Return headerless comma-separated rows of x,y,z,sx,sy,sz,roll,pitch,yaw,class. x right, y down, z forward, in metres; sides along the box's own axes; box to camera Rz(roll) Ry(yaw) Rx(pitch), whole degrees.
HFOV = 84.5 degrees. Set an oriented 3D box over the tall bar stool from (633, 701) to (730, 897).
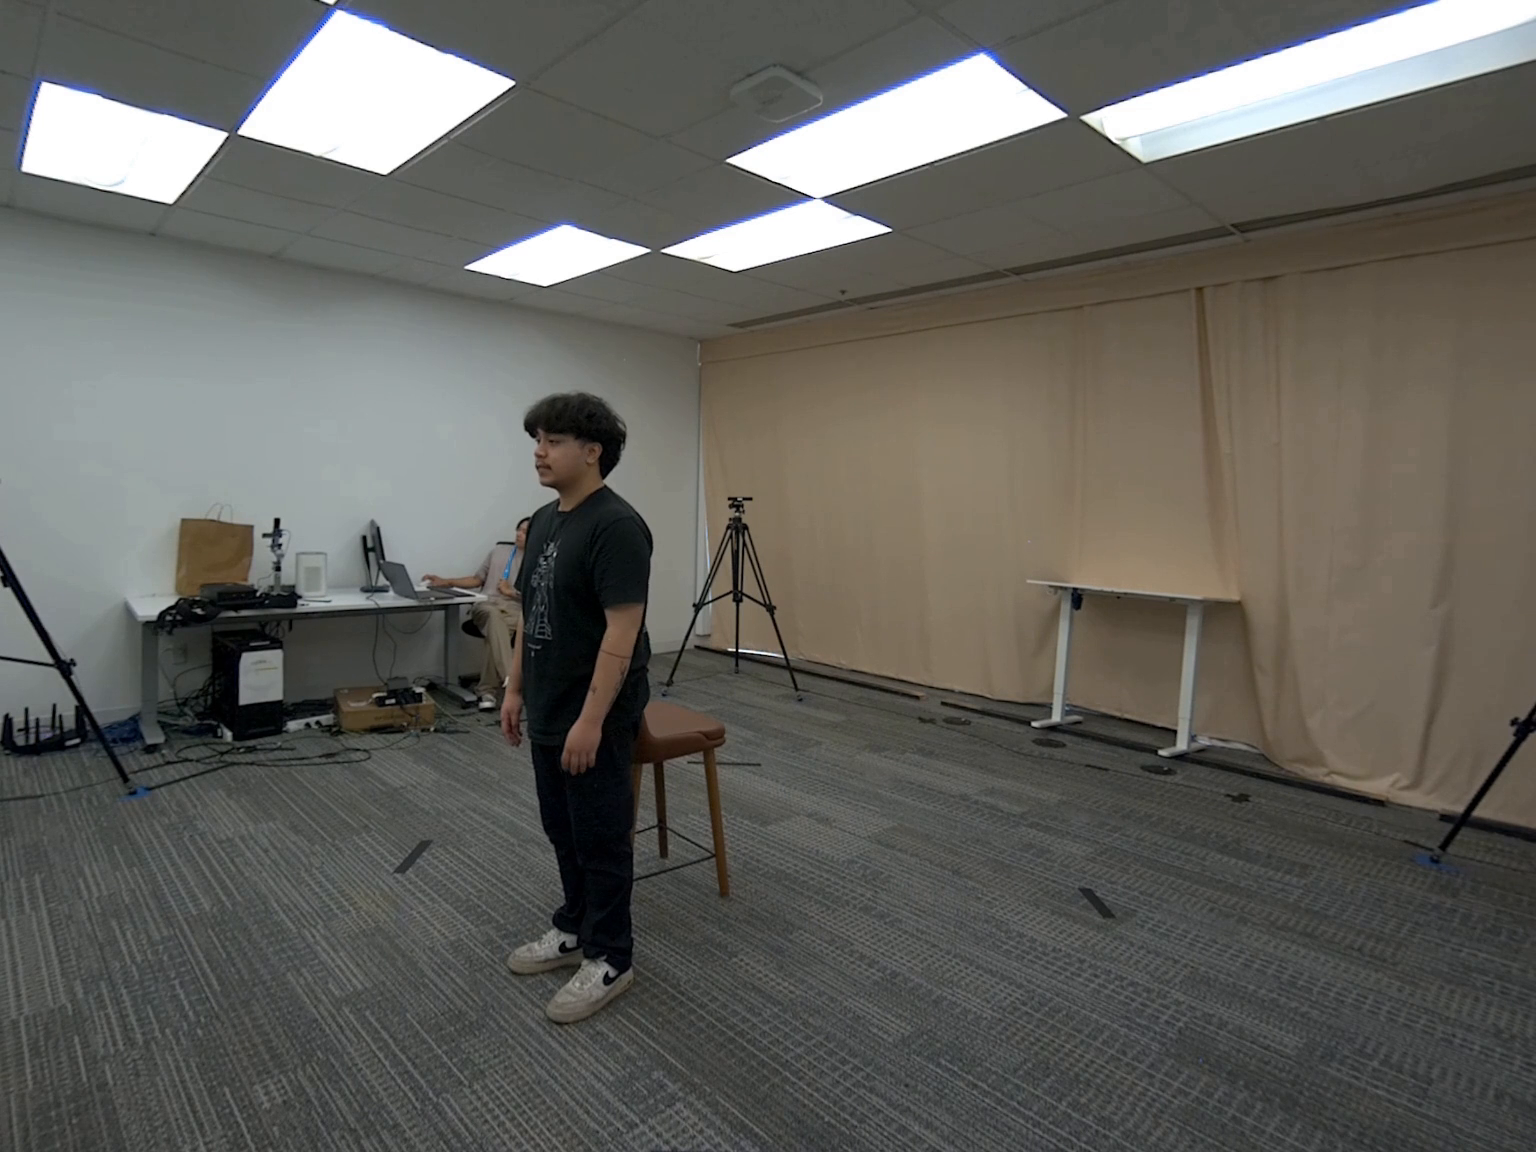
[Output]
-0.439,0.680,2.939,0.457,0.887,0.468,-5,6,-40,tall bar stool
